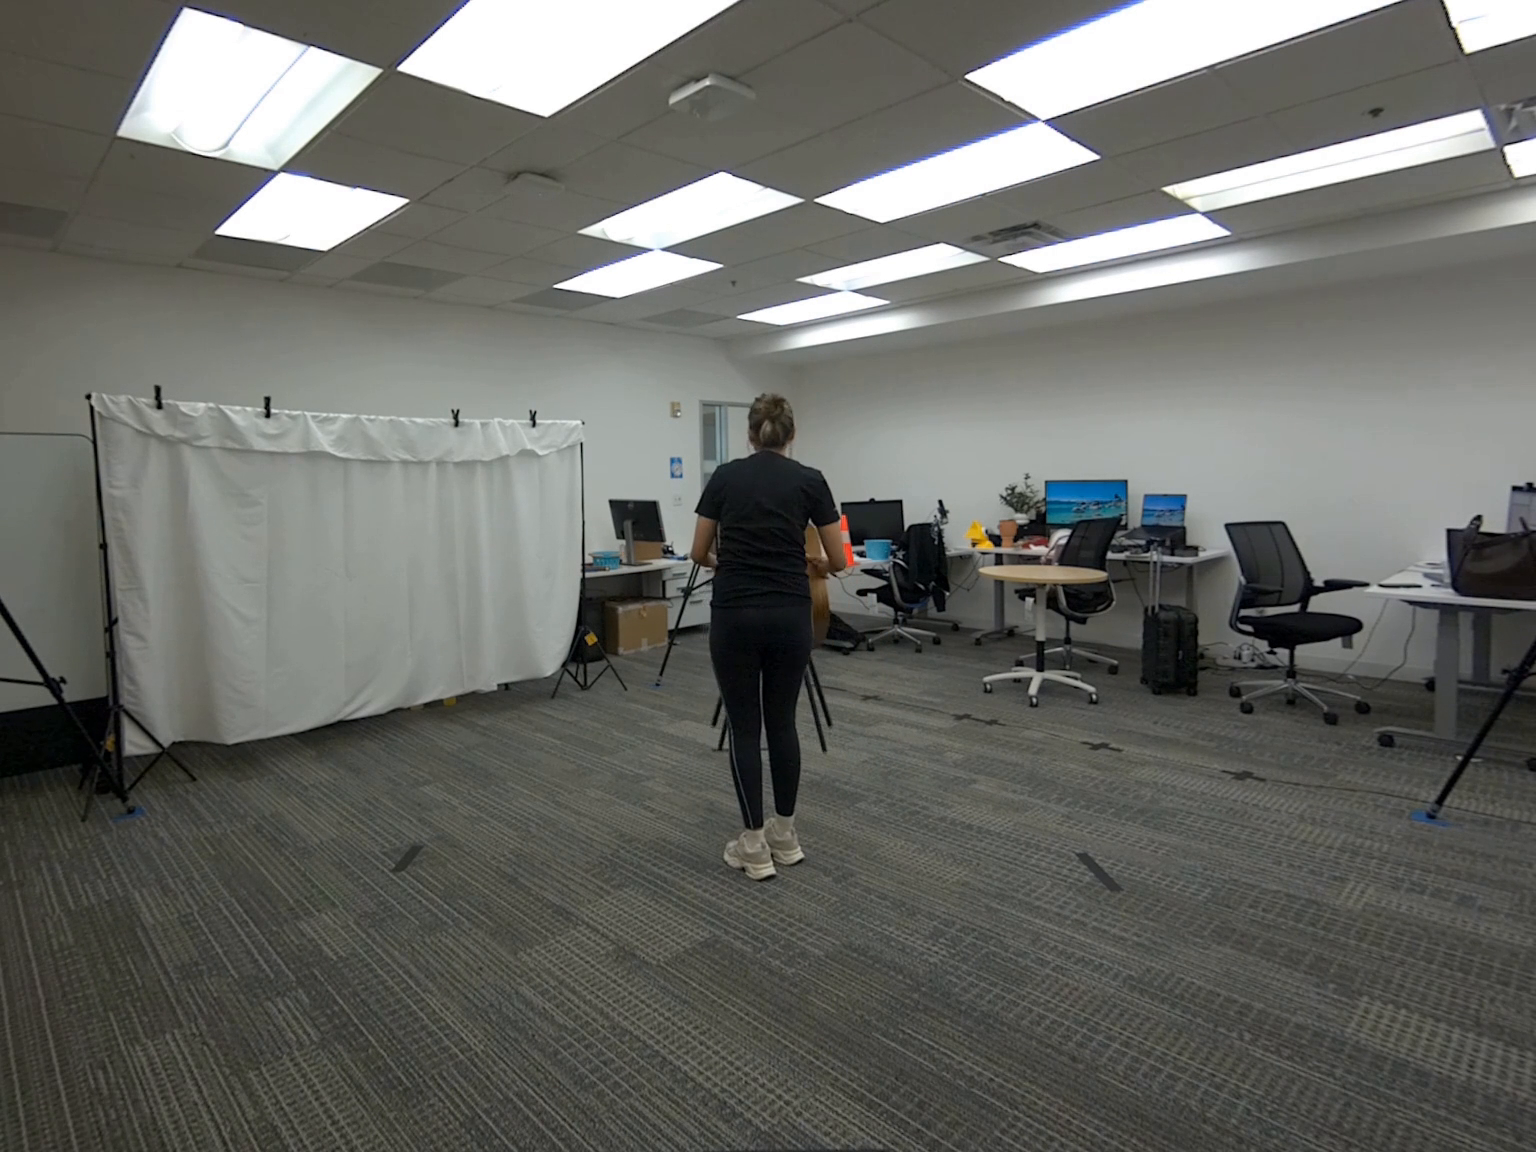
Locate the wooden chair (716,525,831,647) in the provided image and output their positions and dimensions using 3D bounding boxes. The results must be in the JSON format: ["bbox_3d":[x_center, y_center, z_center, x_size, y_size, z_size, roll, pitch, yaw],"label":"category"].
[{"bbox_3d":[0.016,0.261,3.525,0.480,0.893,0.512,-1,-21,2],"label":"wooden chair"}]
